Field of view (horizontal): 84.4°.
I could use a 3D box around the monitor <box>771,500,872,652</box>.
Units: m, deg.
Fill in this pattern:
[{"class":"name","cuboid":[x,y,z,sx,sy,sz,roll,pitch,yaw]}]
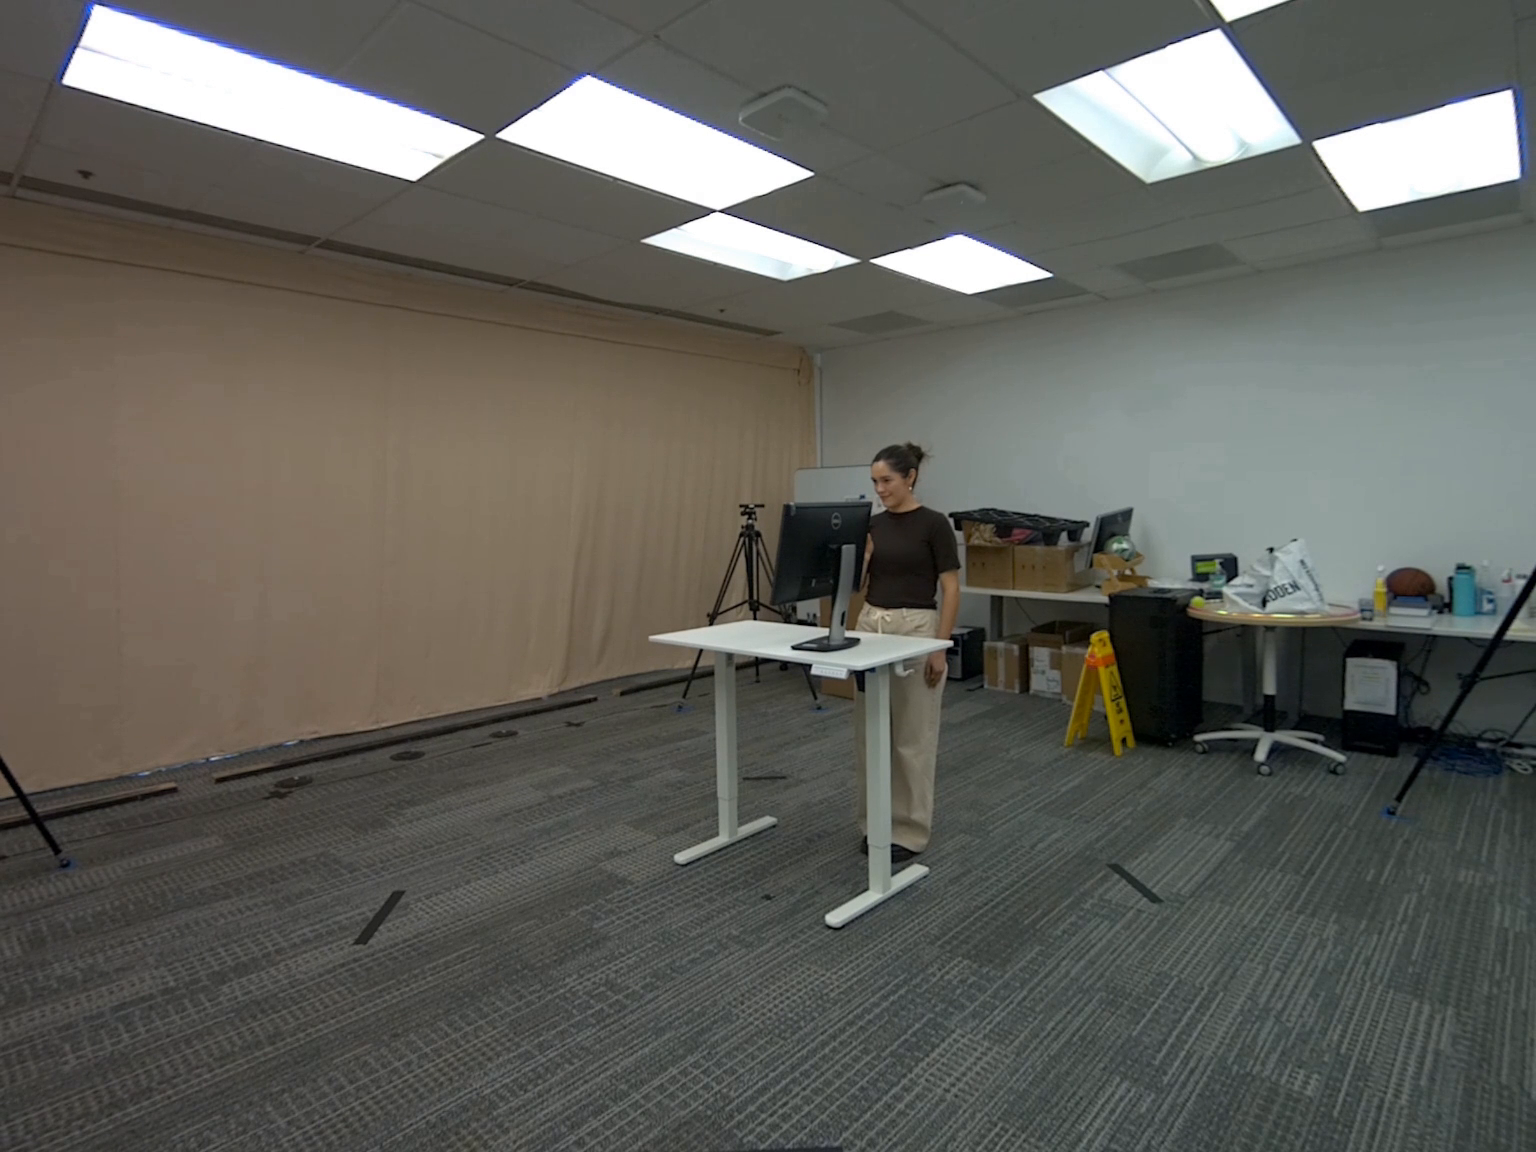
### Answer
[{"class":"monitor","cuboid":[0.224,-0.001,2.994,0.193,0.522,0.523,-1,3,42]}]
